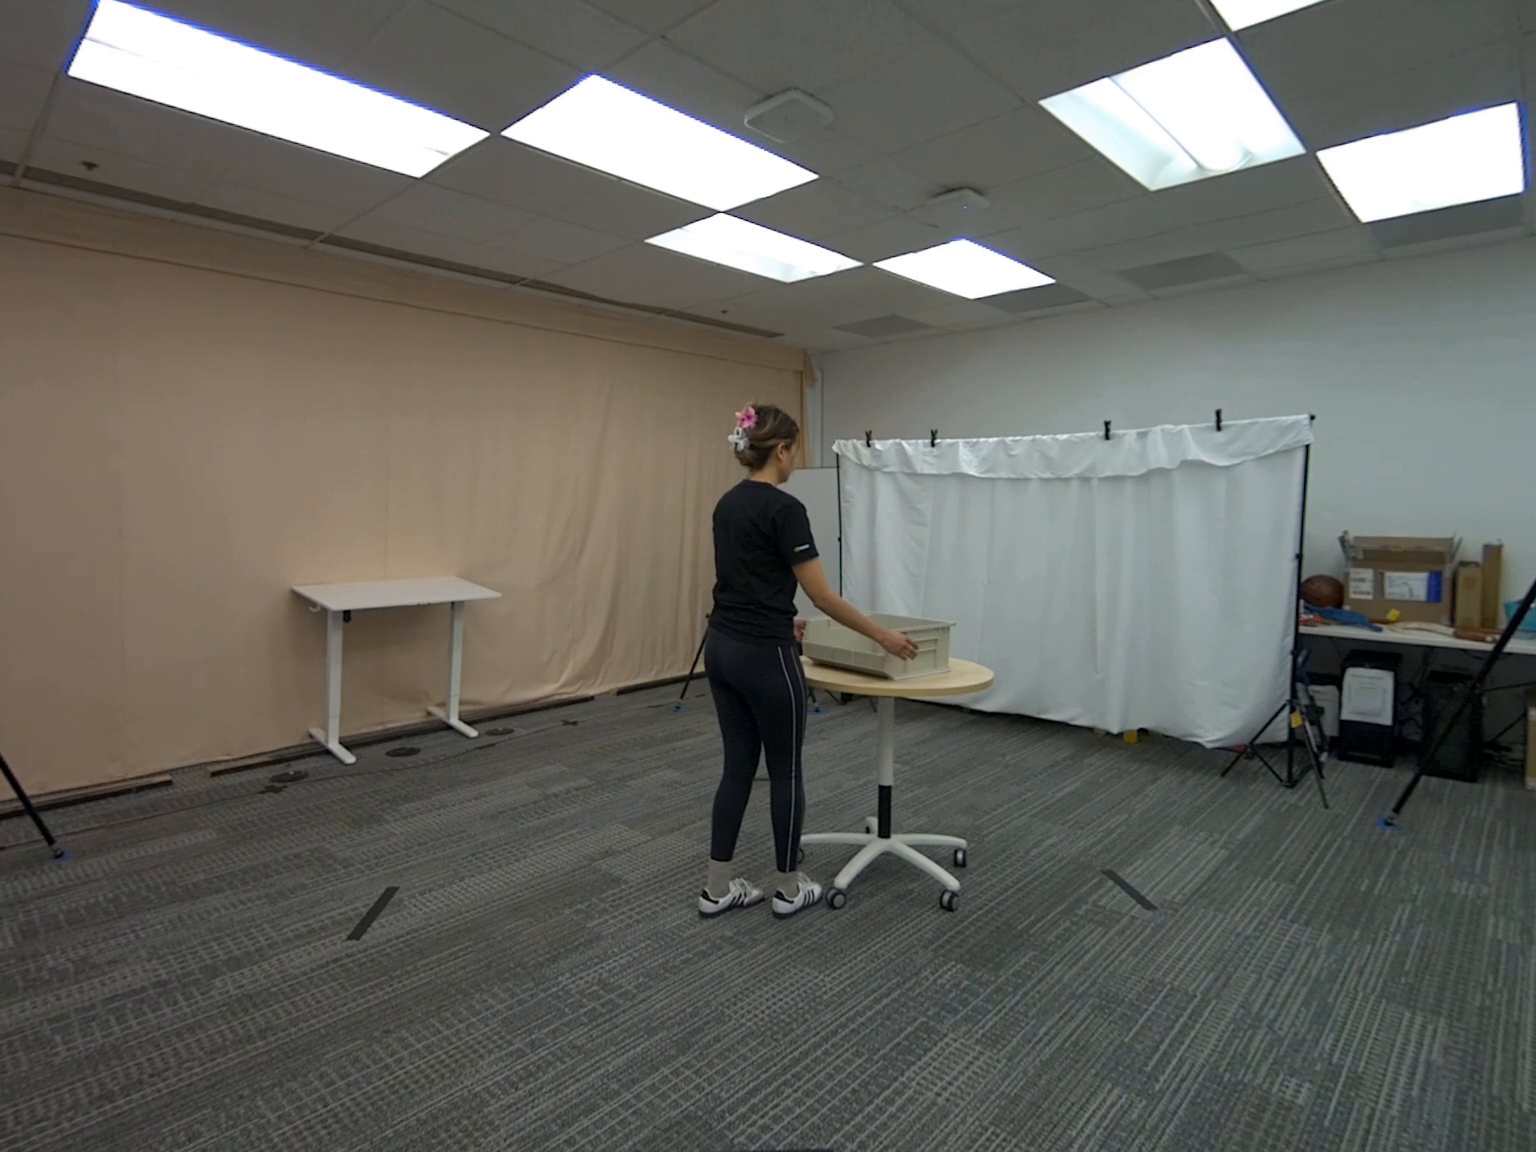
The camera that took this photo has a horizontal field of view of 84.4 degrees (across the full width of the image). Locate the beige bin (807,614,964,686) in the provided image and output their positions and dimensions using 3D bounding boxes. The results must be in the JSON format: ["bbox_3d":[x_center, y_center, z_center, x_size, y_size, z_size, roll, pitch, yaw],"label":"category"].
[{"bbox_3d":[0.429,0.262,3.153,0.366,0.189,0.436,-1,3,-39],"label":"beige bin"}]
